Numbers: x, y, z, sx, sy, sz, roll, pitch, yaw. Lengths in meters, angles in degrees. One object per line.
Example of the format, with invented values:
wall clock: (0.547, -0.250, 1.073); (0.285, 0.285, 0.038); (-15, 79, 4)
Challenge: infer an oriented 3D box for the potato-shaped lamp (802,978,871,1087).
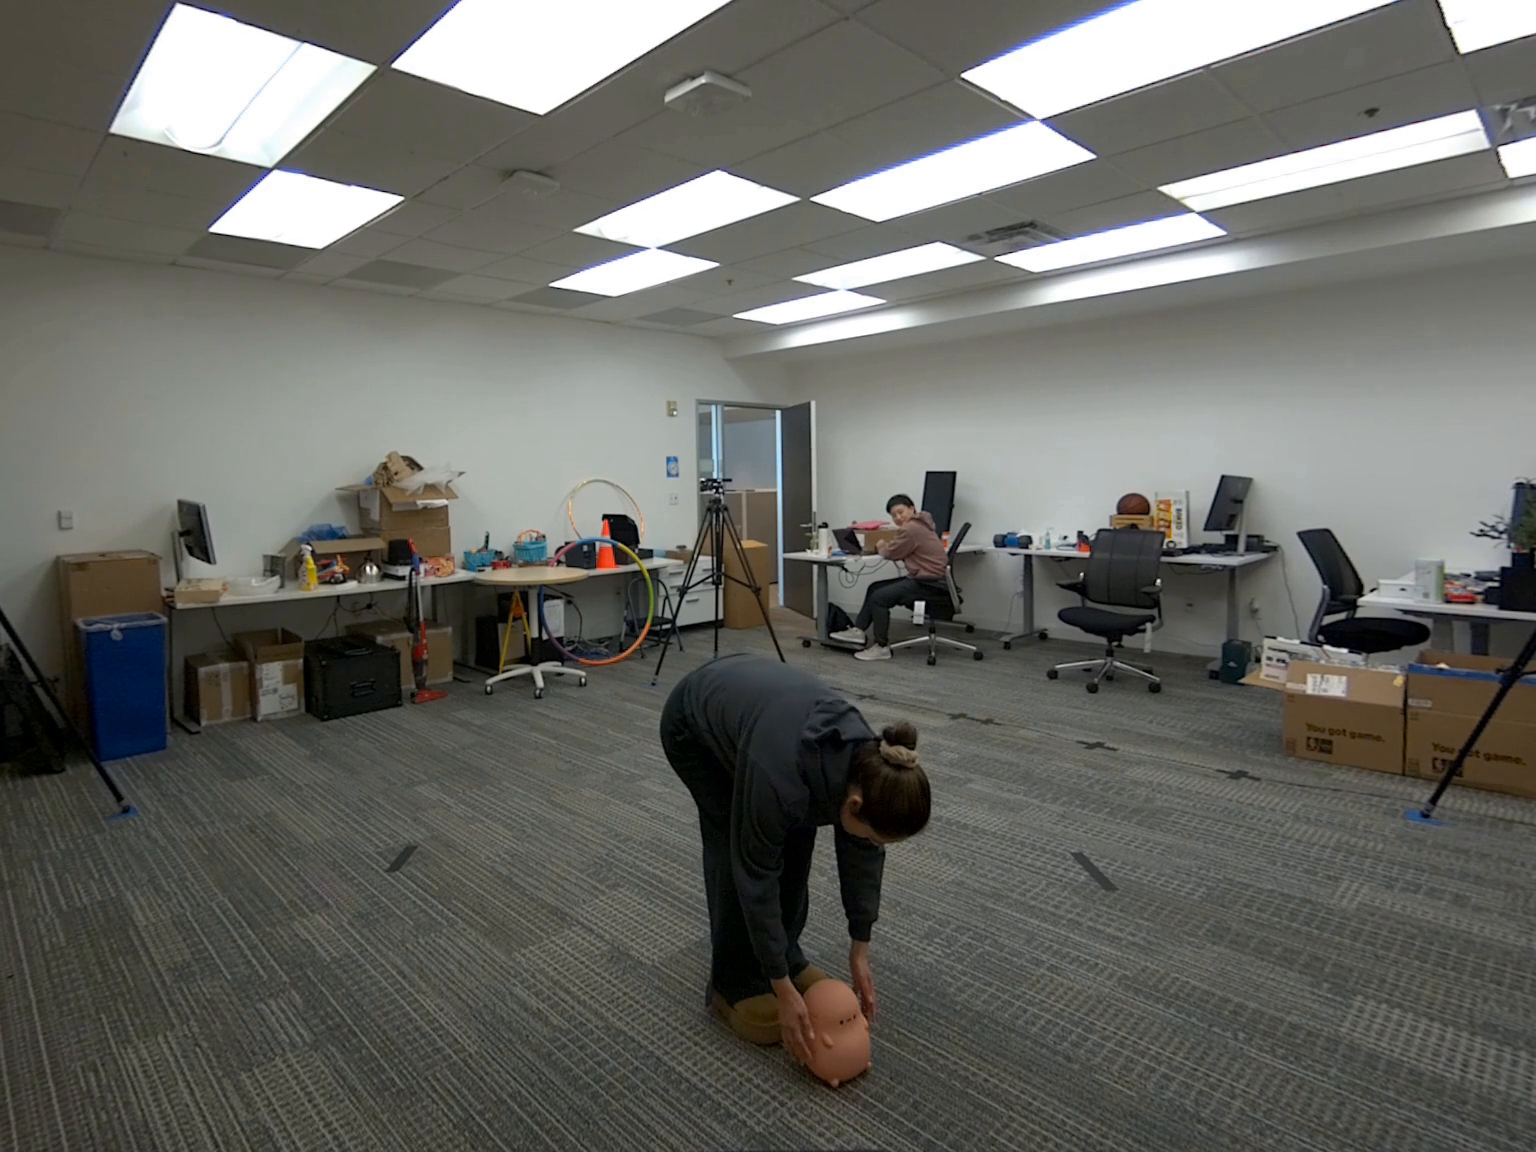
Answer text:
potato-shaped lamp: (0.153, 1.055, 2.022); (0.161, 0.198, 0.175); (-9, 2, -31)
